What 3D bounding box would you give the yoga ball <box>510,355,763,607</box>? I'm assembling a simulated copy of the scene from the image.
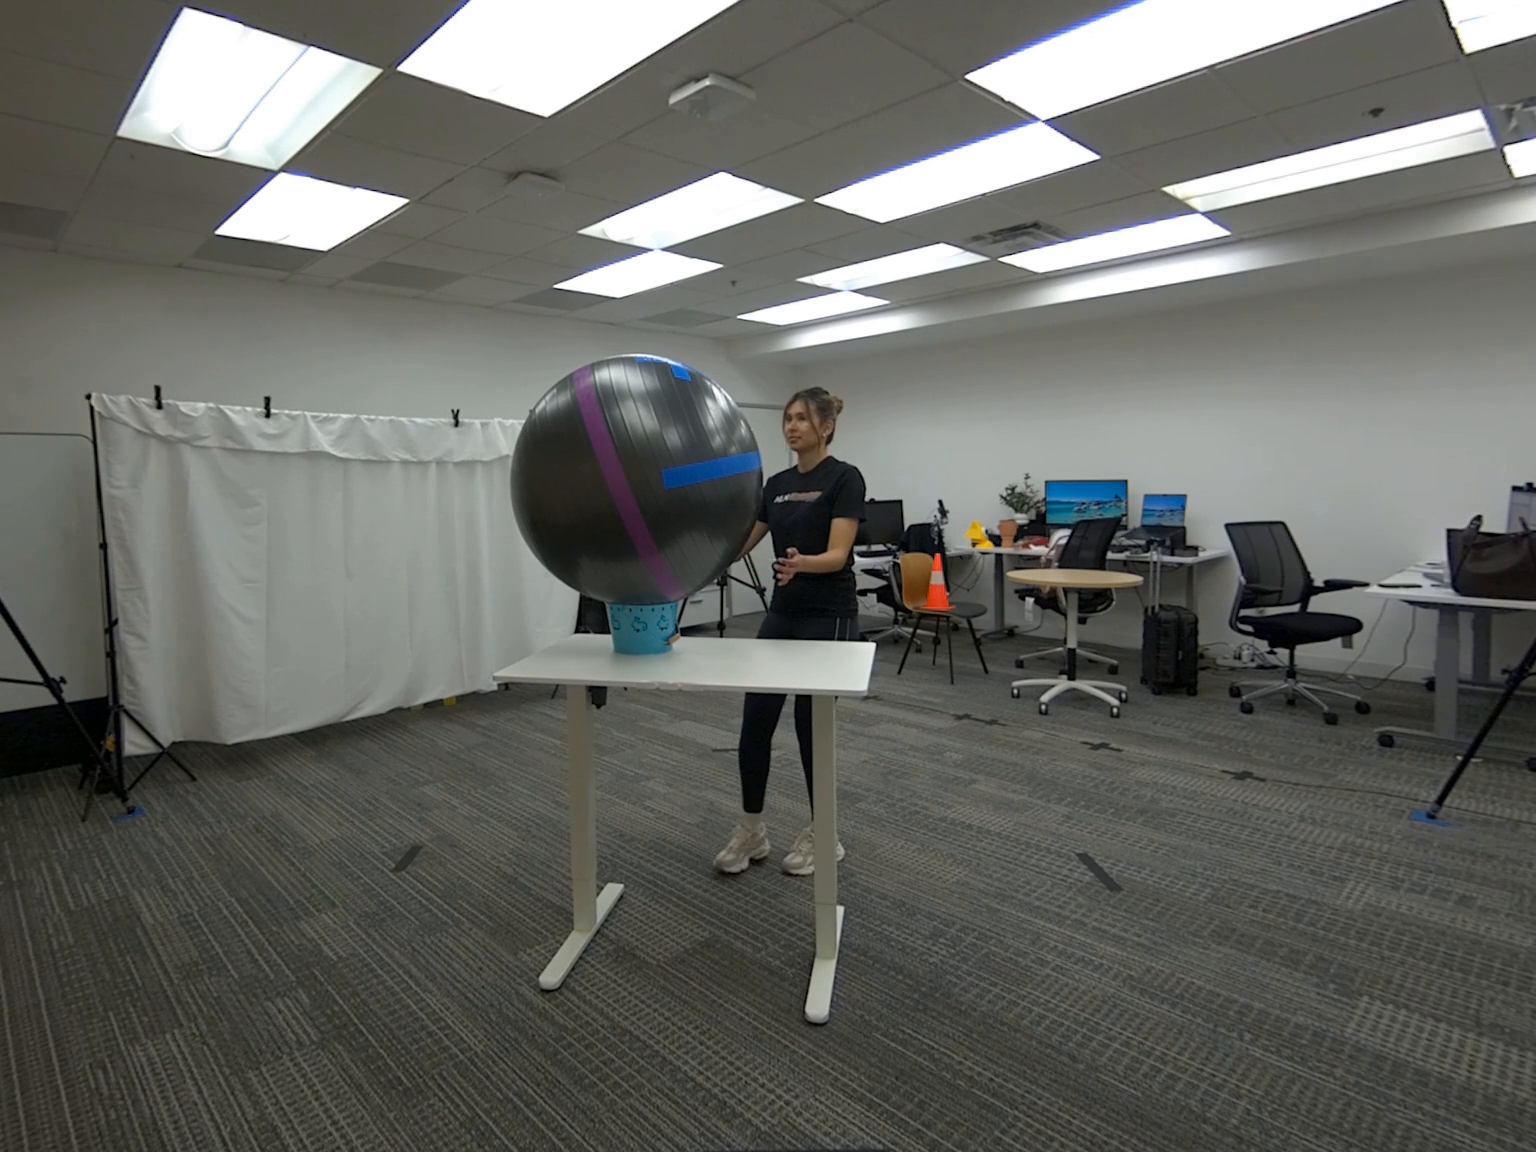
[{"bbox_3d":[-0.400,-0.283,2.596,0.757,0.755,0.762,-1,5,-2],"label":"yoga ball"}]
